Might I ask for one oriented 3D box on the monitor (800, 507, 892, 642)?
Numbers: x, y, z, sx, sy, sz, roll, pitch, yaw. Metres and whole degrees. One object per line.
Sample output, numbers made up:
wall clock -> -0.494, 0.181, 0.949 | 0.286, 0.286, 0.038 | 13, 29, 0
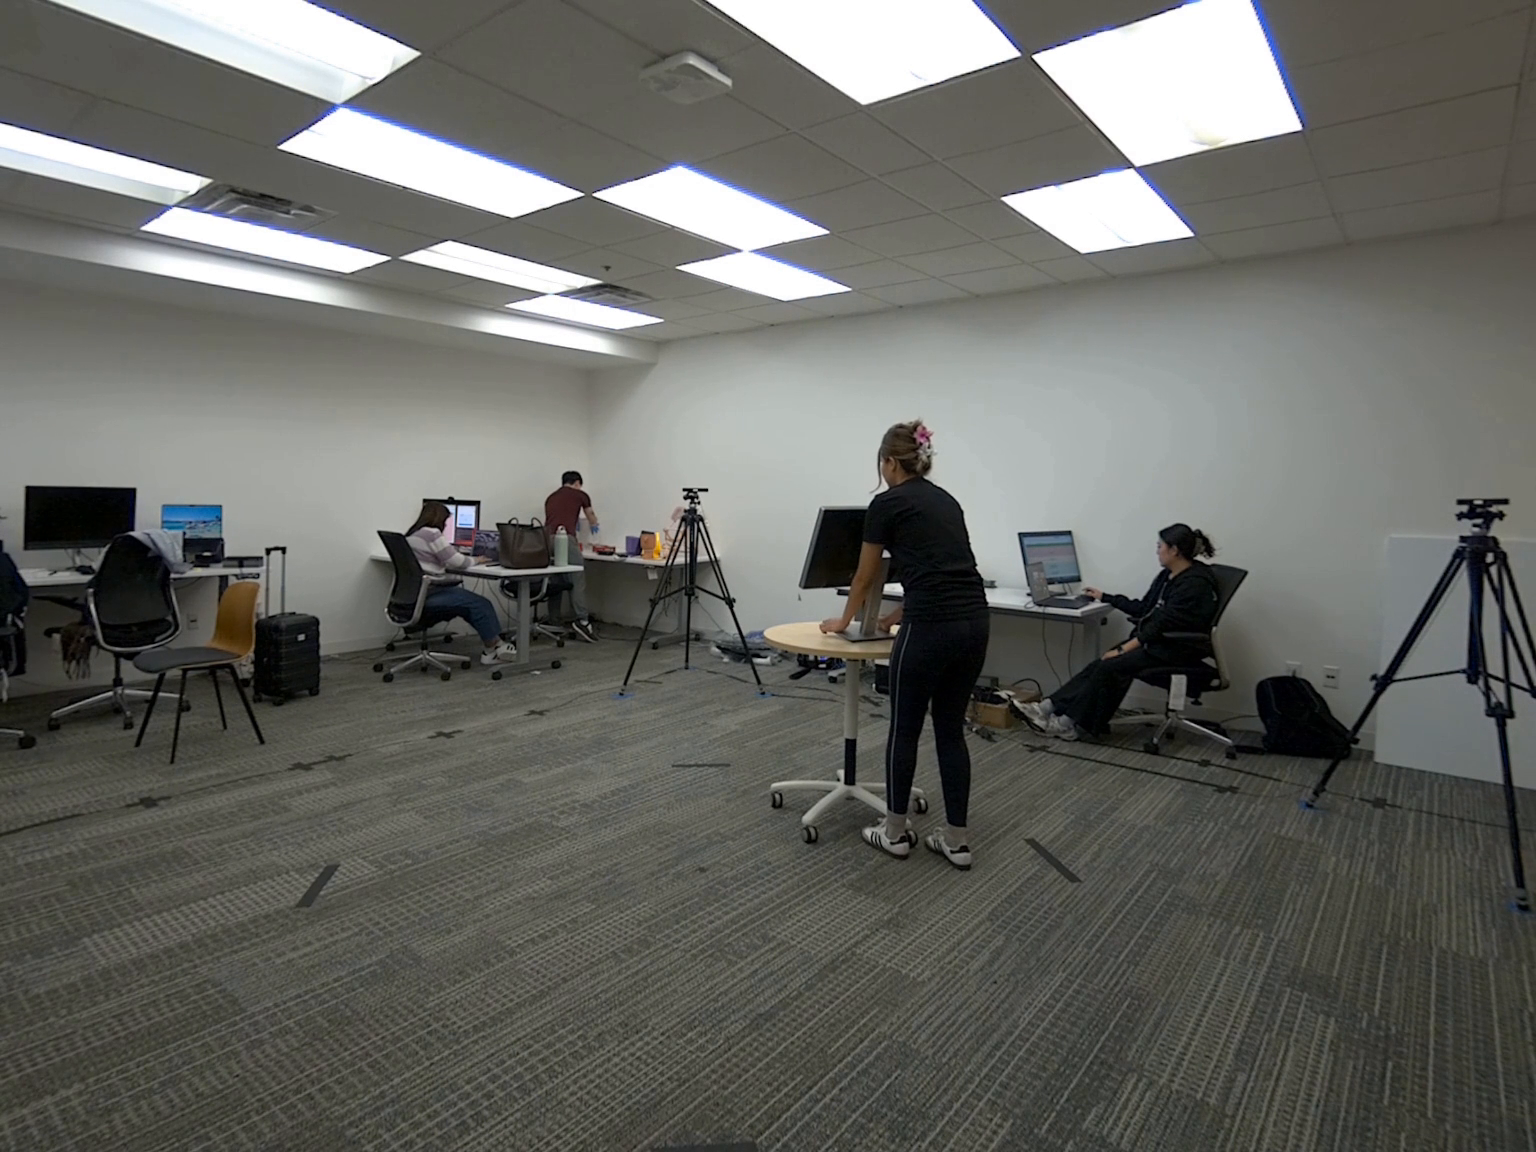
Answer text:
monitor -> 0.402, -0.023, 3.521 | 0.524, 0.518, 0.194 | -2, 12, -32
